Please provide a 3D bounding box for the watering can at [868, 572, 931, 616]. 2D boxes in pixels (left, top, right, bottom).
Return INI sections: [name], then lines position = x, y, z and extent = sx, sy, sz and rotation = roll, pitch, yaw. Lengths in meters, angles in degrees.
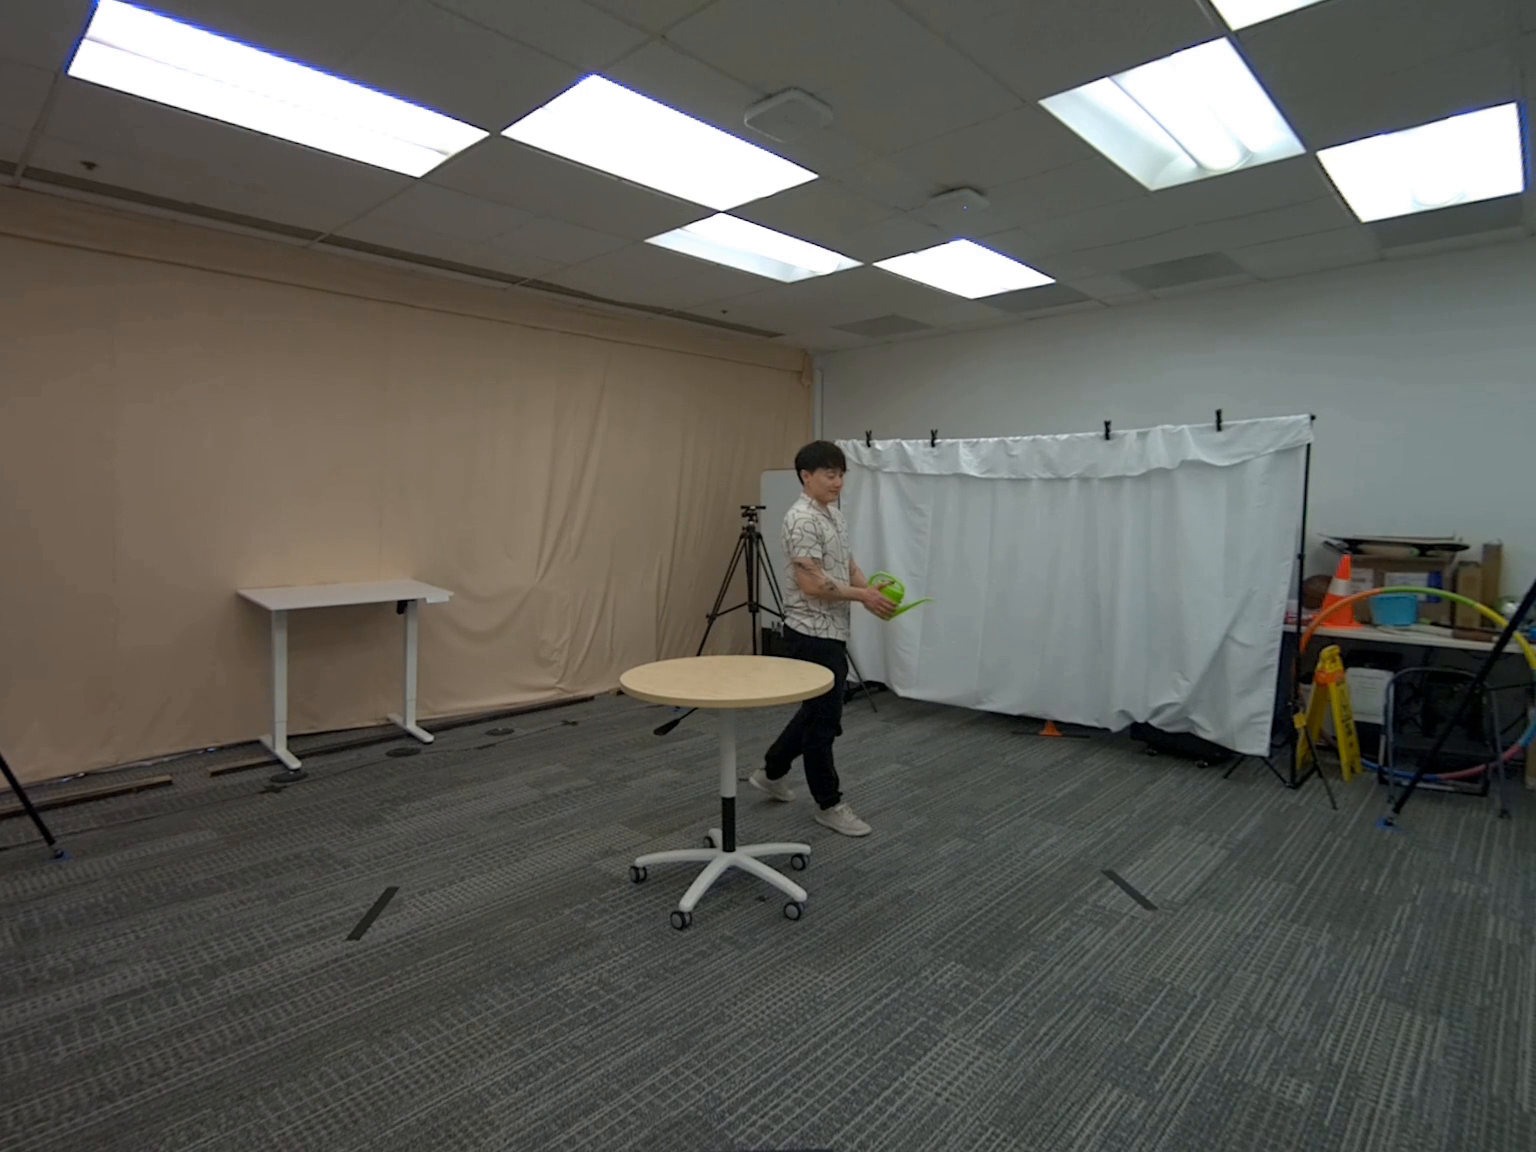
[watering can]
position = 0.531, 0.111, 3.539
extent = 0.287, 0.176, 0.095
rotation = 36, 22, 29
